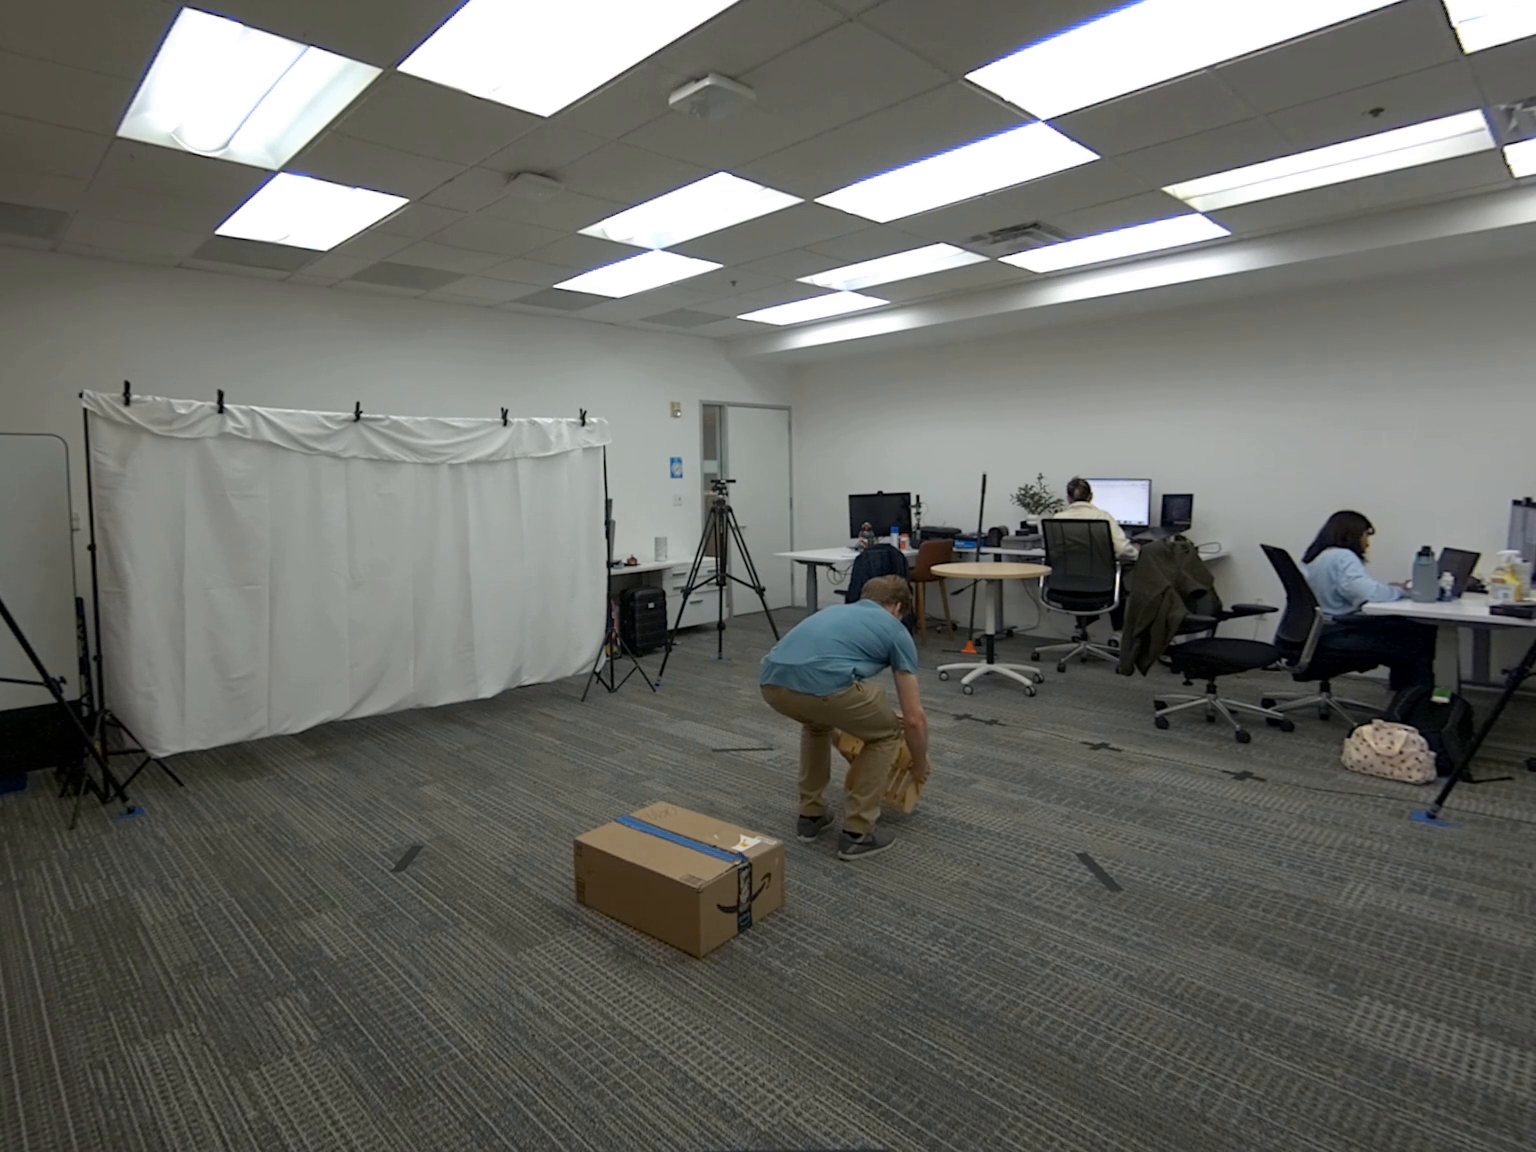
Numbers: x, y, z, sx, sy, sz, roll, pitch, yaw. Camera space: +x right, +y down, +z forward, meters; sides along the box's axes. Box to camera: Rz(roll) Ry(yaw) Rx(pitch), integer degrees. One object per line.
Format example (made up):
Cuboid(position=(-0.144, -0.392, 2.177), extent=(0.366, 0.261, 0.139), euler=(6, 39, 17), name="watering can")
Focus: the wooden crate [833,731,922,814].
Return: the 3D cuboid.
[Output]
Cuboid(position=(0.476, 0.762, 3.551), extent=(0.334, 0.264, 0.303), euler=(5, 48, 41), name="wooden crate")
